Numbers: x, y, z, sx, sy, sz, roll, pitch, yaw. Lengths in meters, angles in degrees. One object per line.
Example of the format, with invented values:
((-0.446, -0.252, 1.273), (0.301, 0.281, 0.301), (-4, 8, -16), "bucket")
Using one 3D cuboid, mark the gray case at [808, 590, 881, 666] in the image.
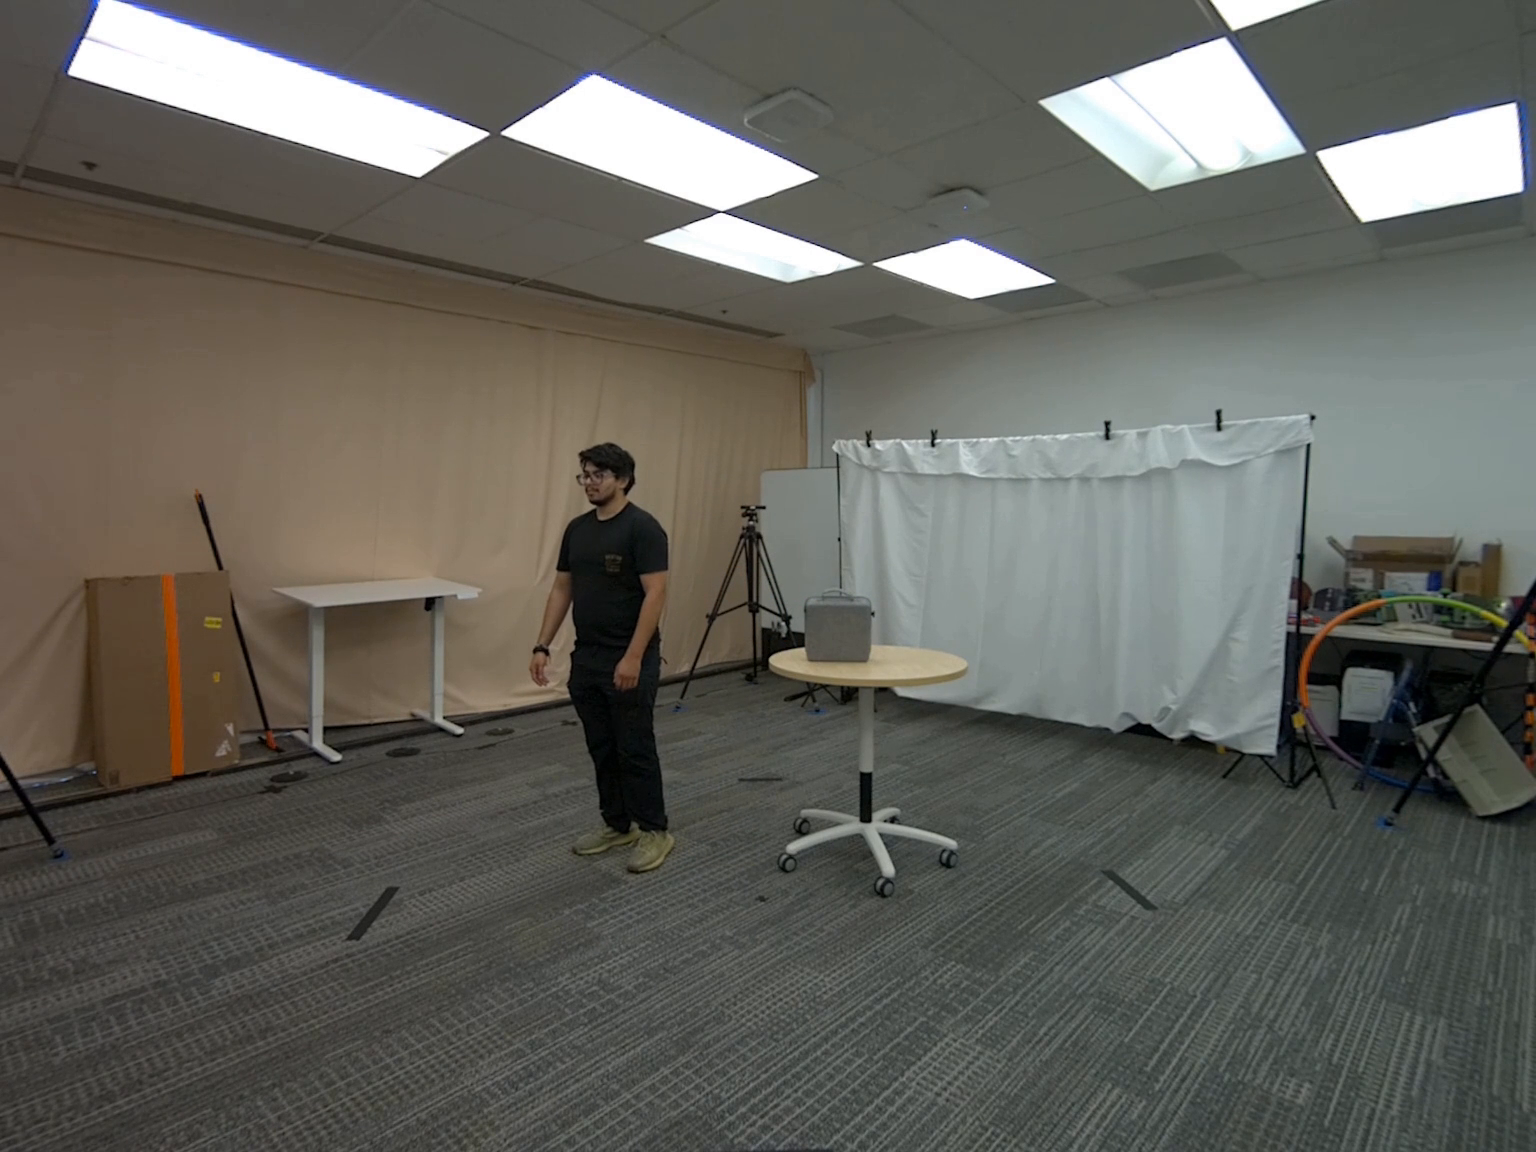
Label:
((0.288, 0.198, 3.263), (0.258, 0.258, 0.105), (2, 14, 3), "gray case")
